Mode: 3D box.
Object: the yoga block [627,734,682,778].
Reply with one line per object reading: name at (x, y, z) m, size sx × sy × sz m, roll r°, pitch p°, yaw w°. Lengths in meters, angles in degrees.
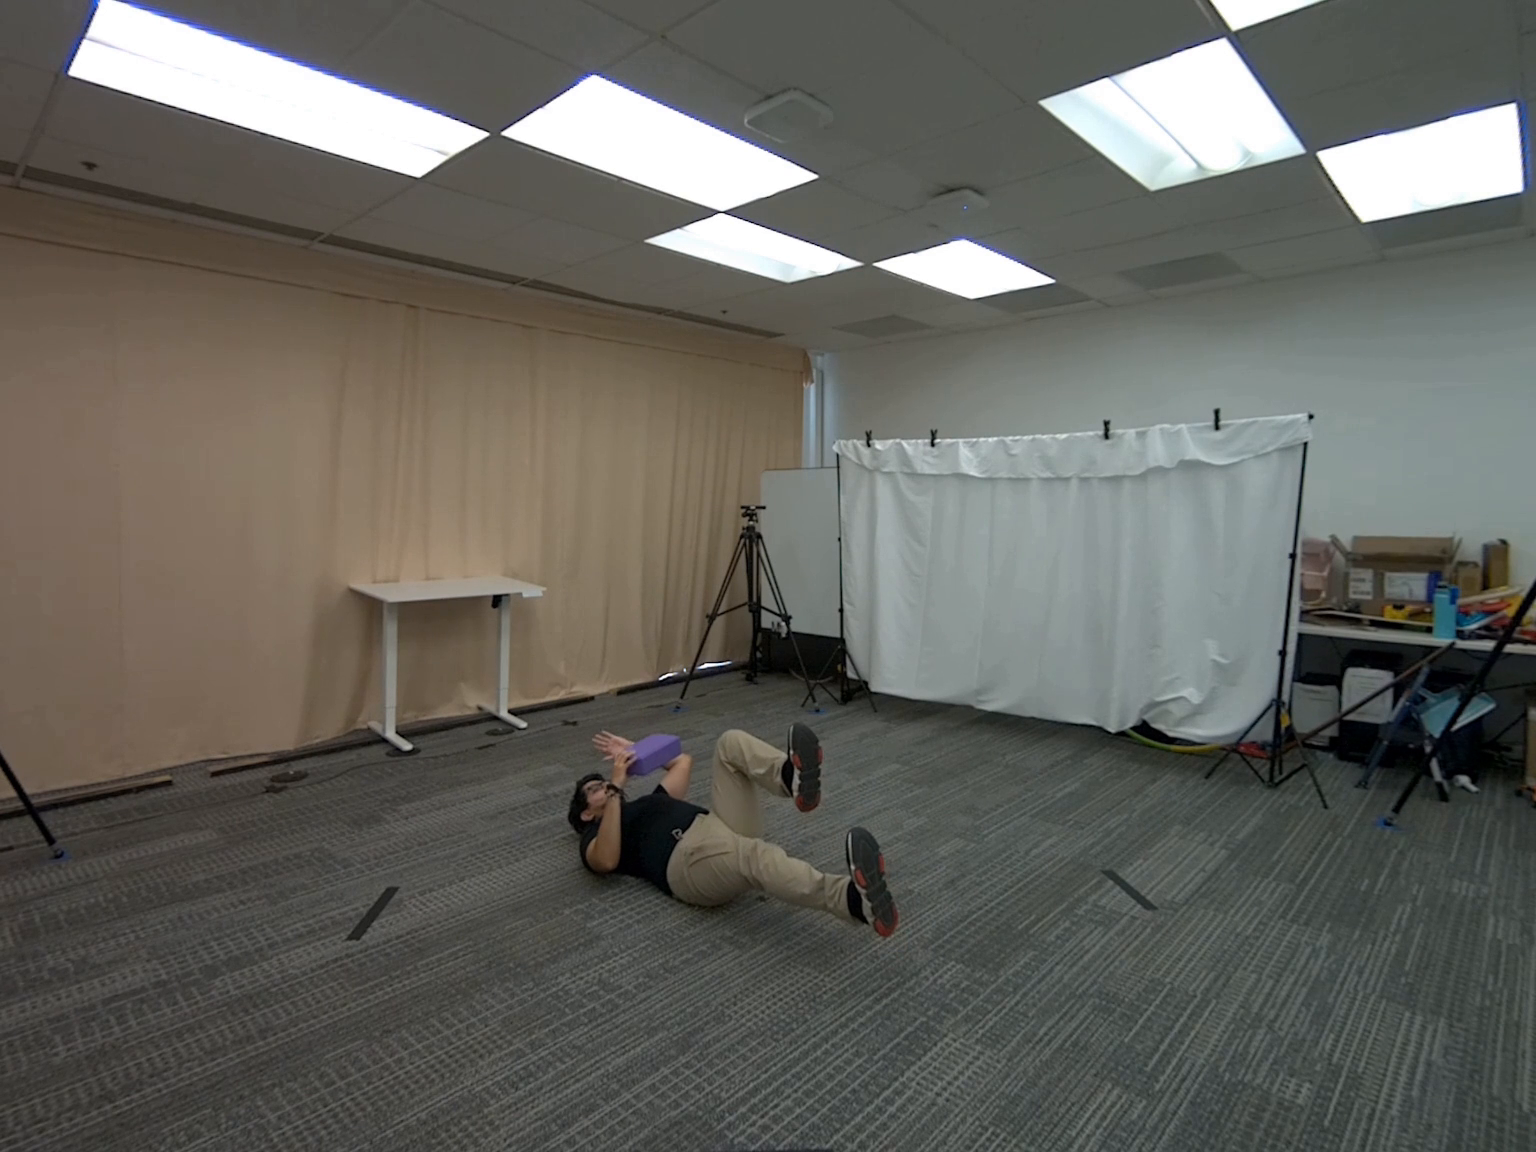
yoga block at (-0.452, 0.684, 3.233) m, size 0.154 × 0.076 × 0.223 m, roll -1°, pitch 11°, yaw 41°
